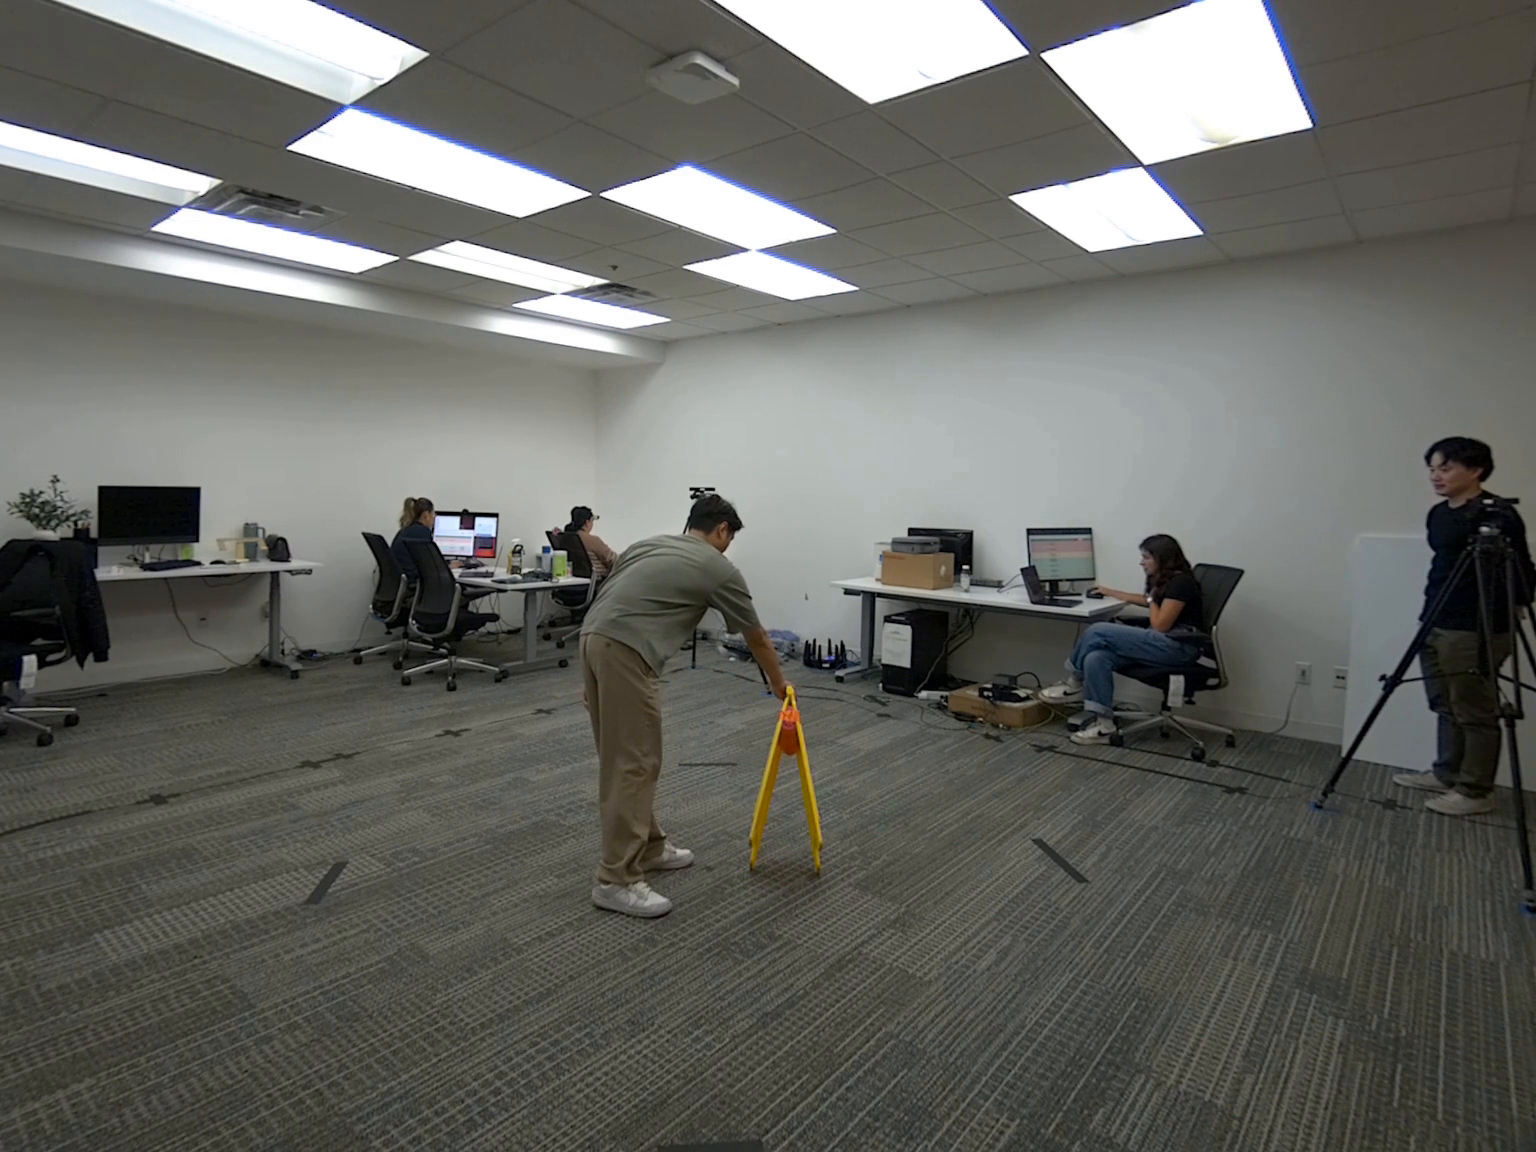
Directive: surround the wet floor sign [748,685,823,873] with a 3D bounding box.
[{"bbox_3d":[0.070,0.737,3.210,0.291,0.663,0.274,0,-38,3],"label":"wet floor sign"}]
